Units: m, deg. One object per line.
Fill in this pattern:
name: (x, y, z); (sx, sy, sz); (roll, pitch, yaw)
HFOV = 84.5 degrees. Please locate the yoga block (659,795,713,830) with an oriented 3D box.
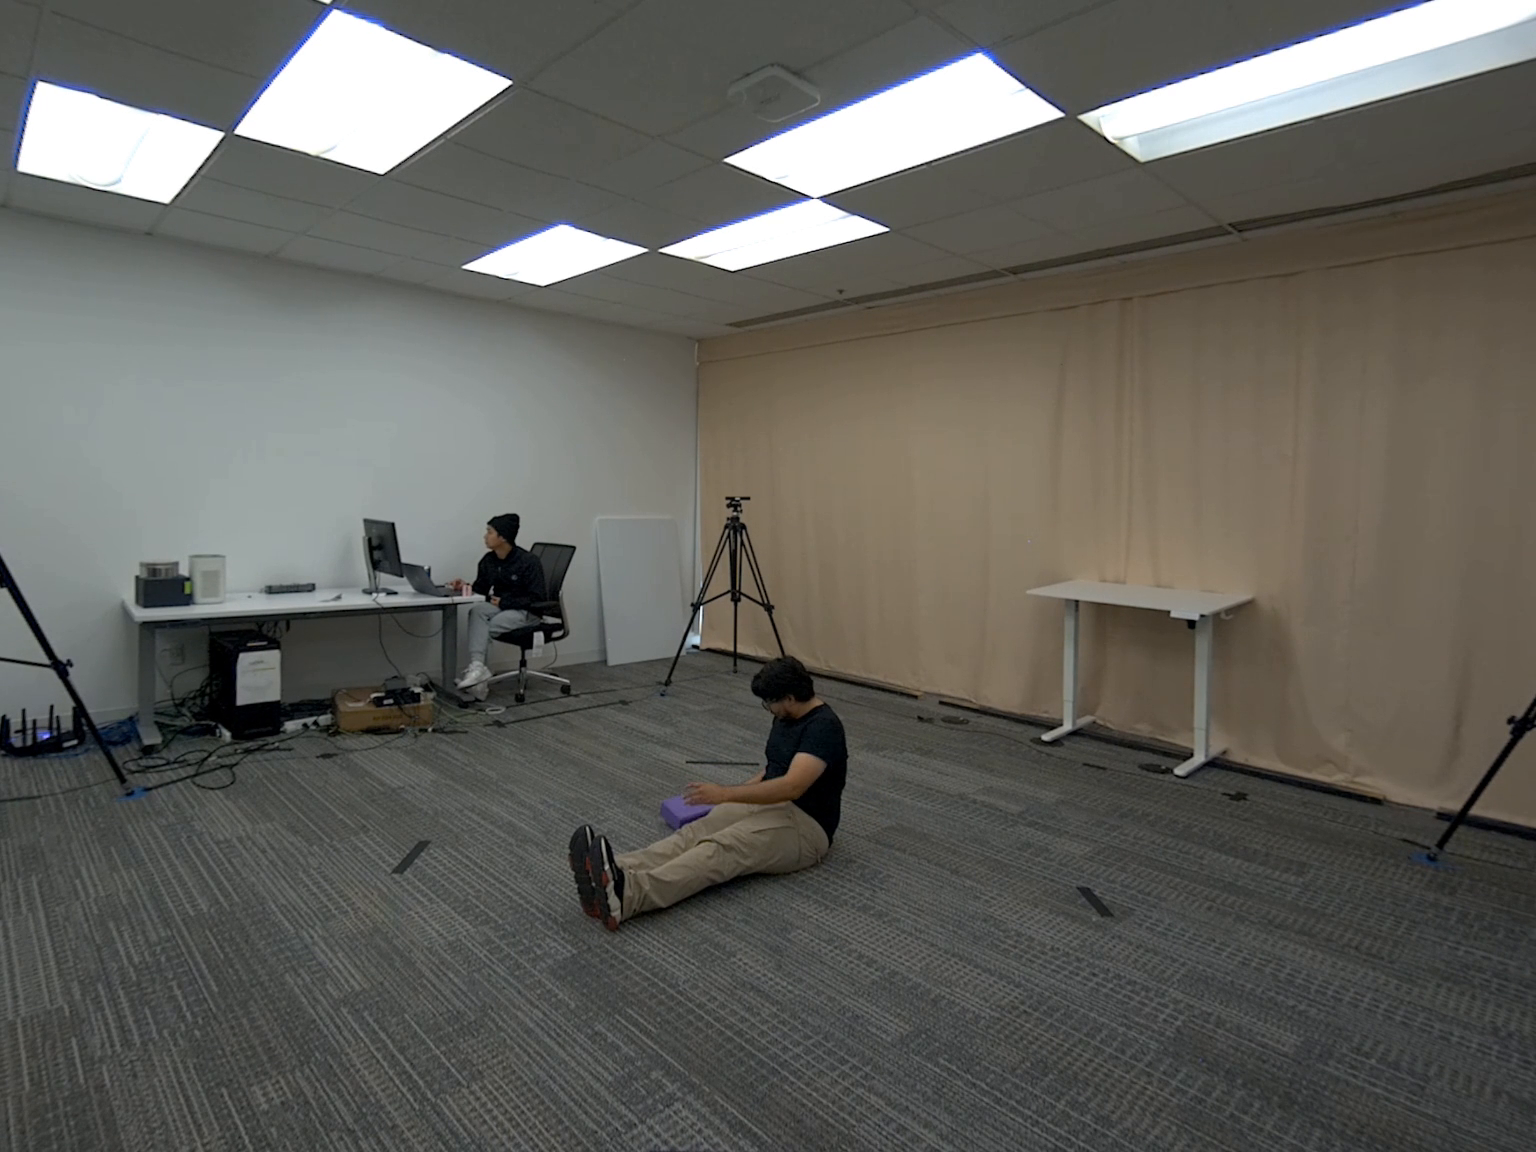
yoga block: (-0.331, 0.997, 3.594); (0.224, 0.076, 0.154); (-2, 21, -42)
